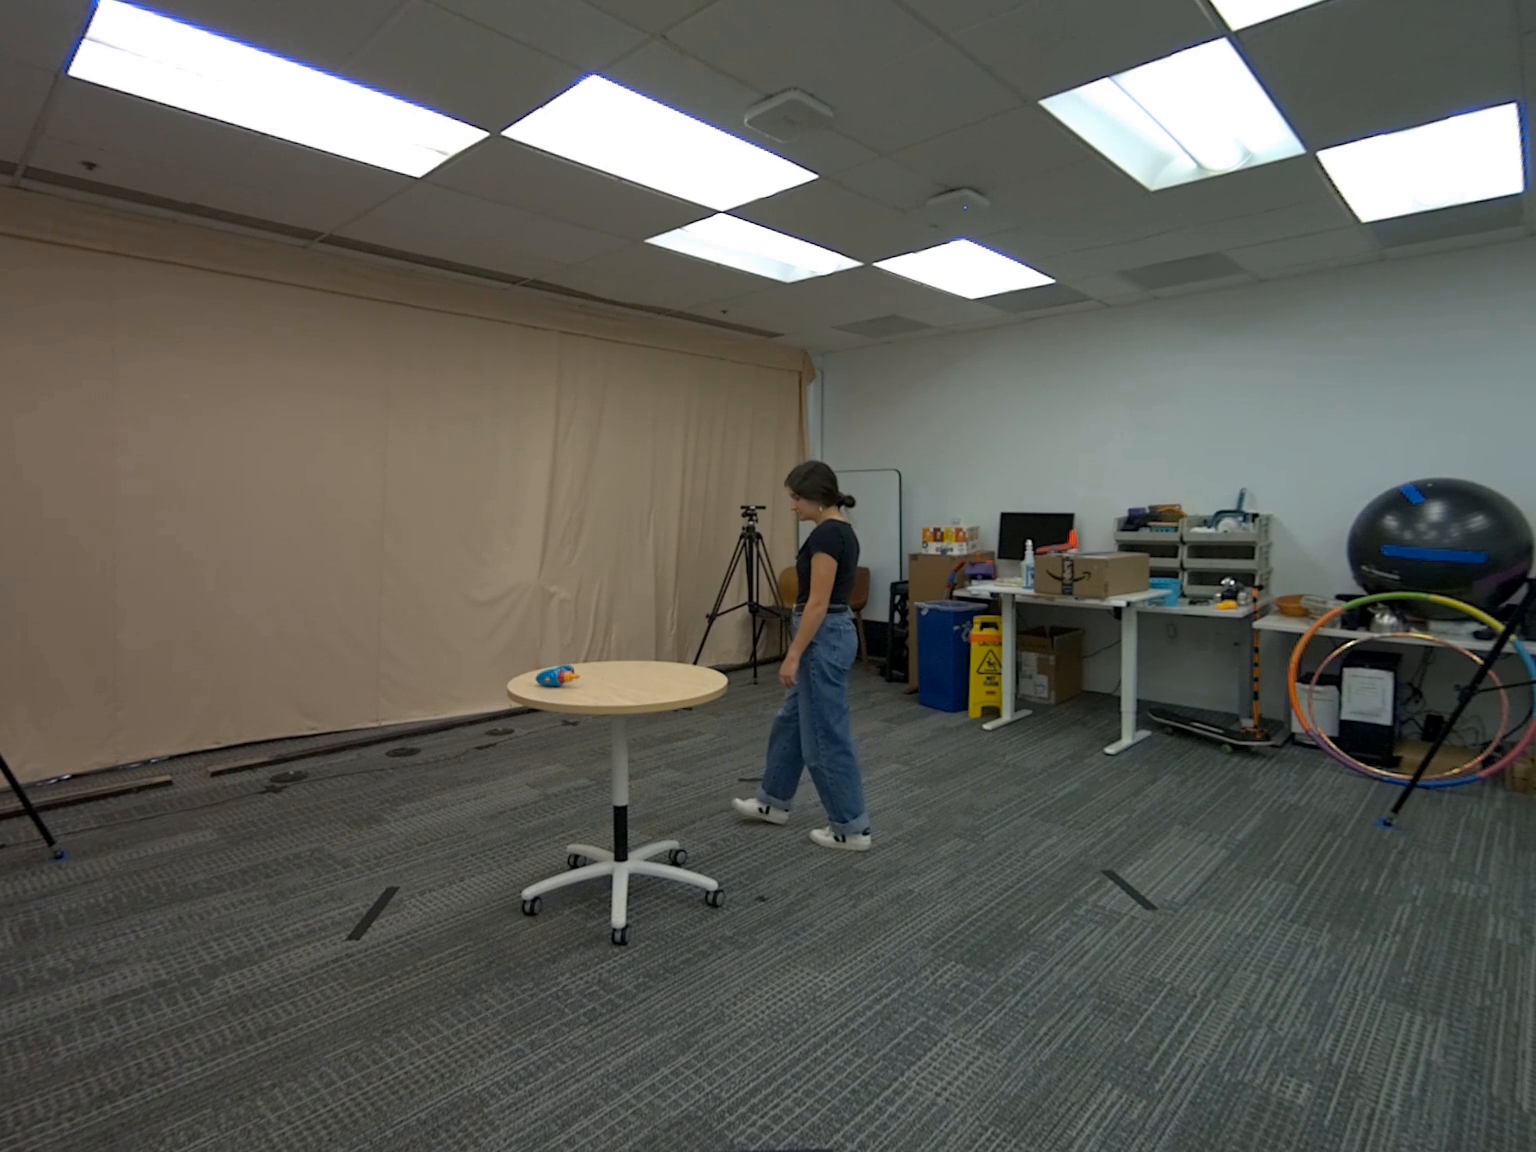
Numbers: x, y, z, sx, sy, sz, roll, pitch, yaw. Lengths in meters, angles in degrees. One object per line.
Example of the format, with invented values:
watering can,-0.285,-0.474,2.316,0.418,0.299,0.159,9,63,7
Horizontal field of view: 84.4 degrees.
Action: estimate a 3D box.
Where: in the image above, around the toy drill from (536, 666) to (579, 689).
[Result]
toy drill,-0.705,0.346,2.878,0.173,0.061,0.143,-7,1,18
